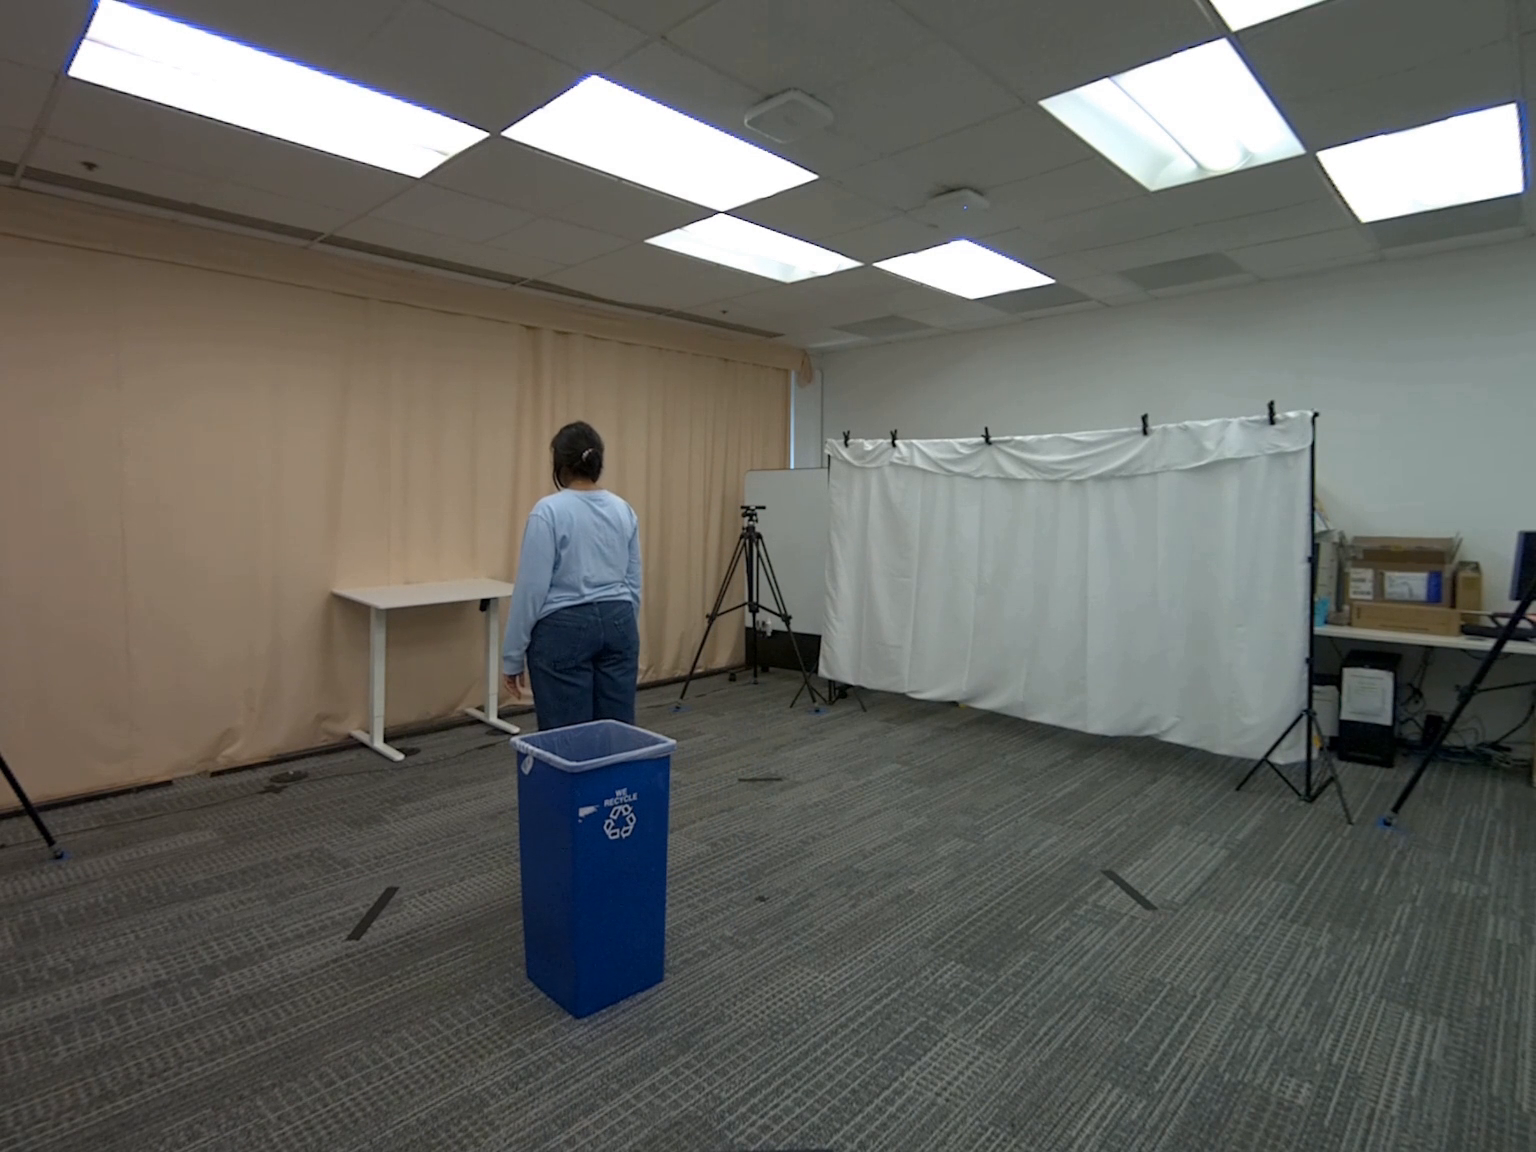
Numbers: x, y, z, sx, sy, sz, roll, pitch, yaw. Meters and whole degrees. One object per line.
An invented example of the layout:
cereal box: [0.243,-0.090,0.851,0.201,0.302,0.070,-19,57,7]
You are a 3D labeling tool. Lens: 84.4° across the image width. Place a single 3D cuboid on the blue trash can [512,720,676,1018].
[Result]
blue trash can: [-0.504,0.833,2.477,0.362,0.712,0.391,-2,4,-43]
